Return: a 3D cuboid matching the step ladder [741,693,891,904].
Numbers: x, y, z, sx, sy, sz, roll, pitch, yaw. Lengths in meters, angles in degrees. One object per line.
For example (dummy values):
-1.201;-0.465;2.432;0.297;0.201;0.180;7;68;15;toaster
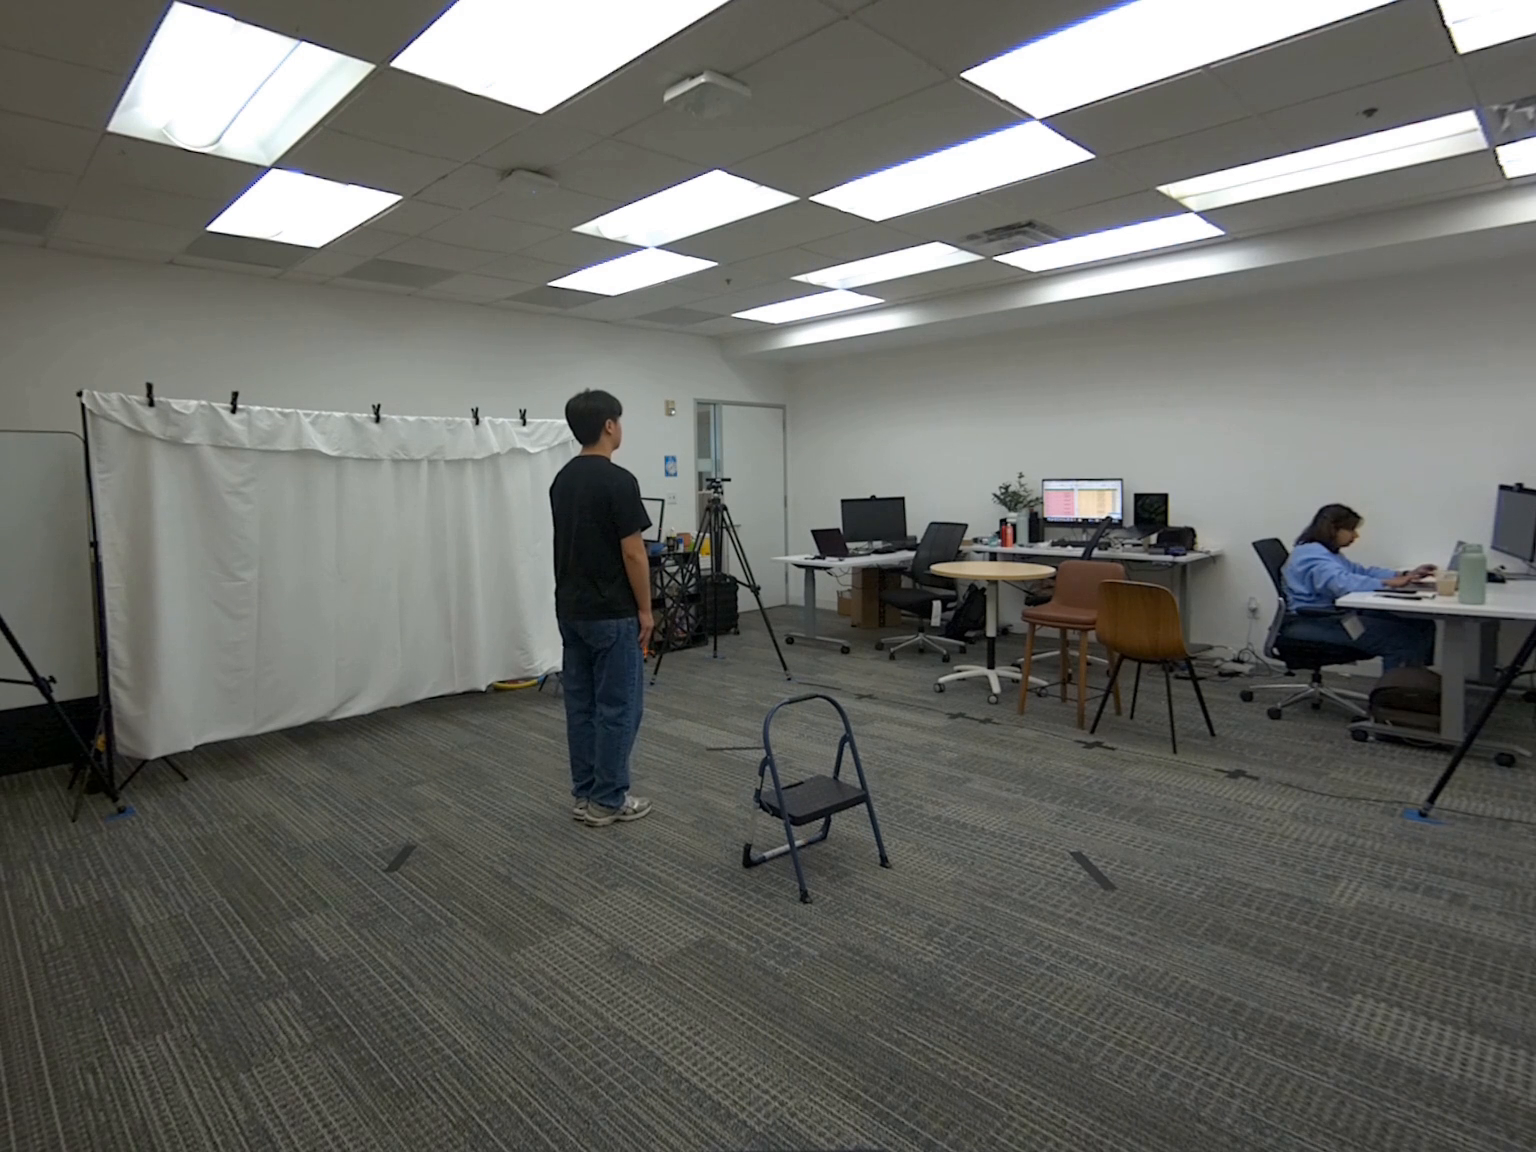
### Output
0.171;0.739;3.048;0.419;0.604;0.360;-4;5;-40;step ladder
